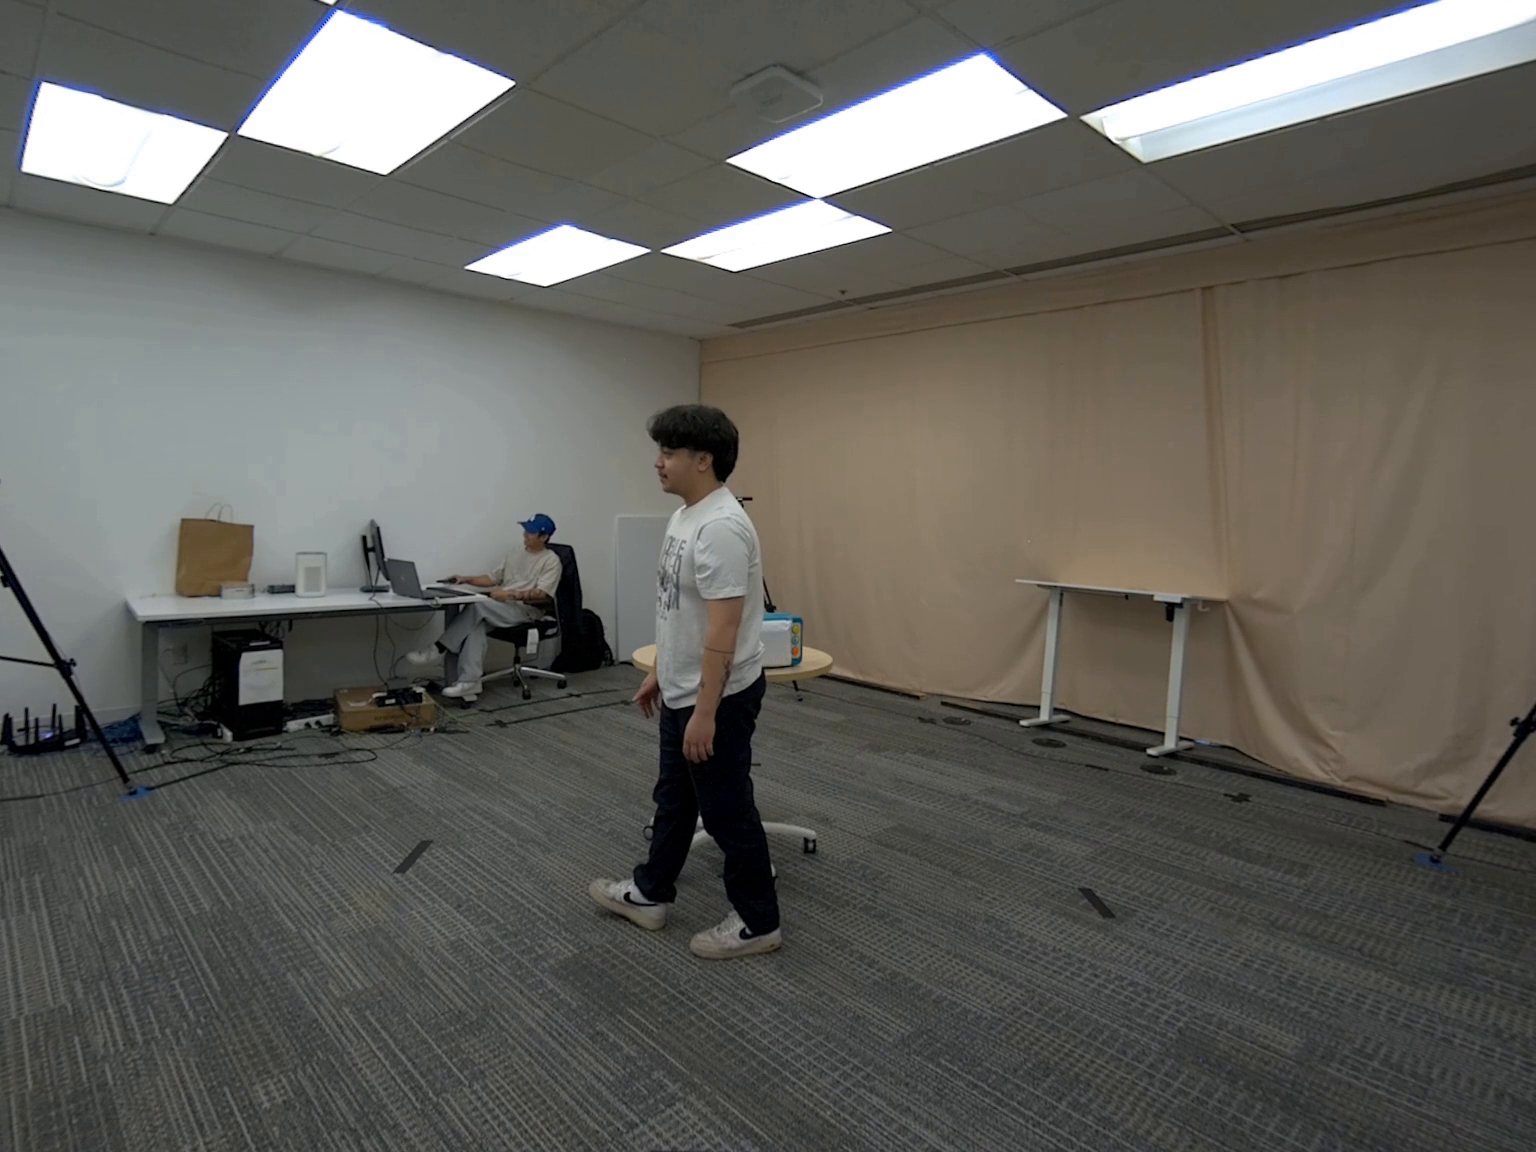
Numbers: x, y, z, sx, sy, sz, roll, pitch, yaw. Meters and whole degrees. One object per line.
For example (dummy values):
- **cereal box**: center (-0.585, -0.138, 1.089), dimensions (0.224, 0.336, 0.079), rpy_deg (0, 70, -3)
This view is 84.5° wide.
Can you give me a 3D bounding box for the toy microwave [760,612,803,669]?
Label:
- **toy microwave**: center (-0.025, 0.233, 3.020), dimensions (0.281, 0.184, 0.155), rpy_deg (0, 4, -24)
